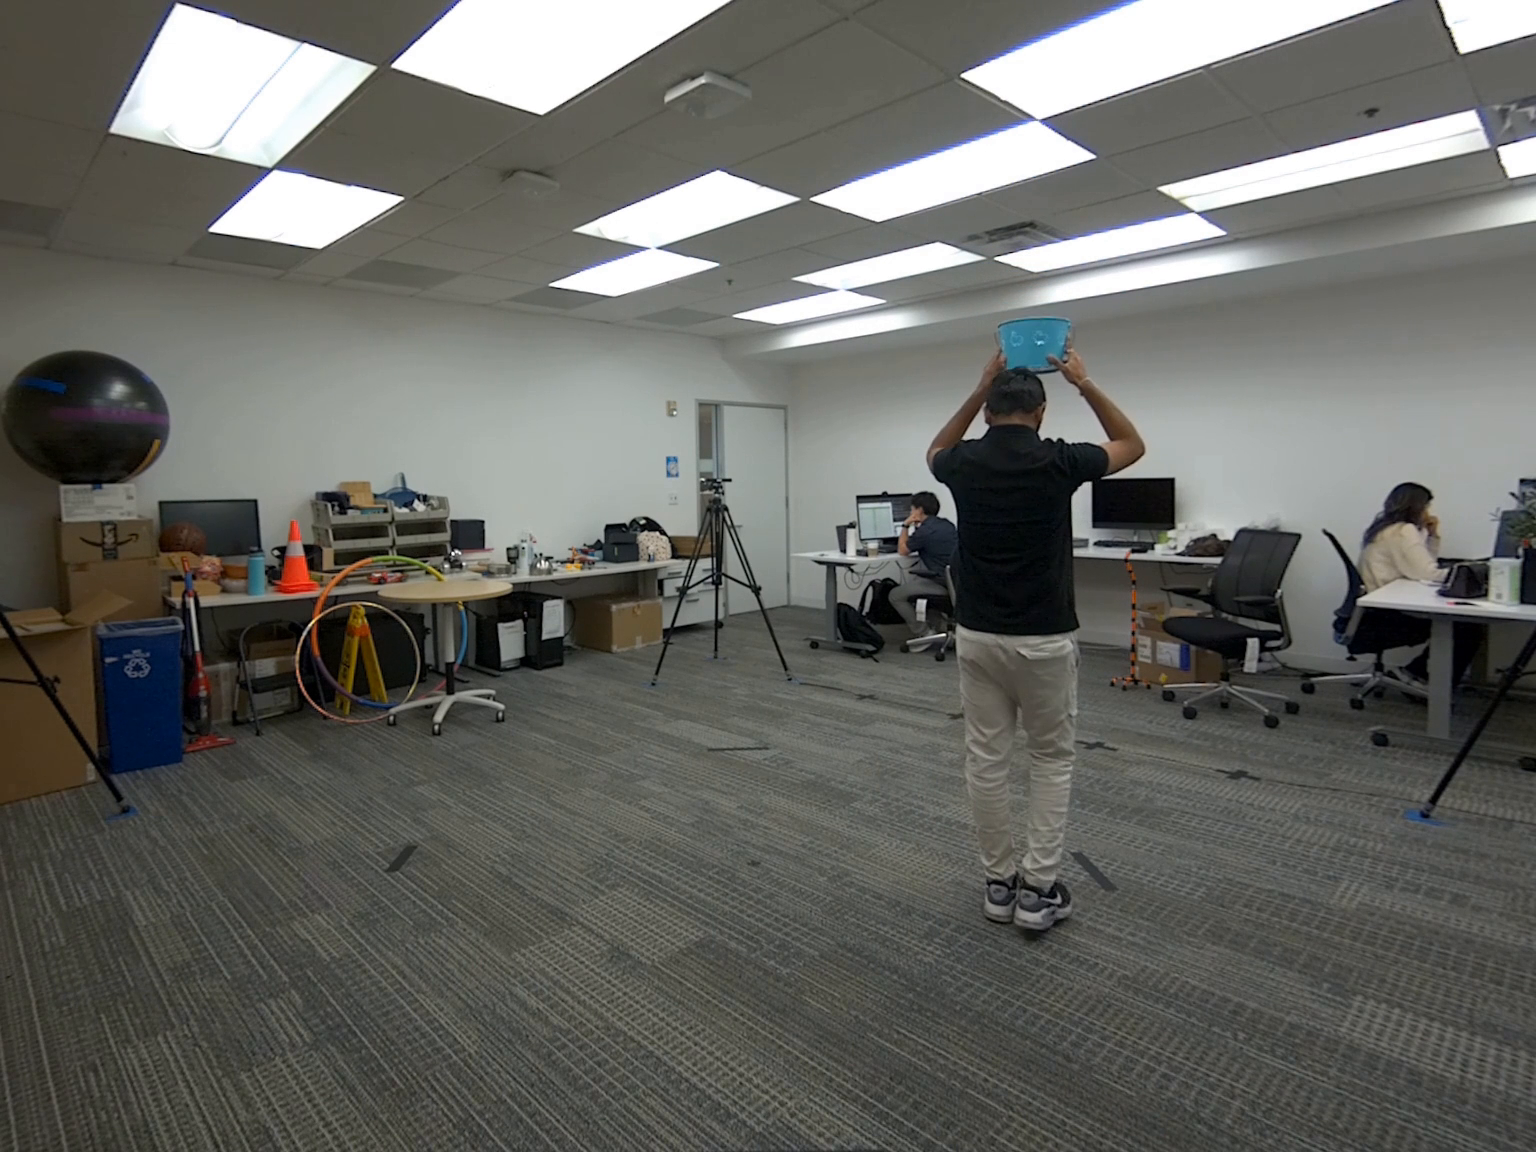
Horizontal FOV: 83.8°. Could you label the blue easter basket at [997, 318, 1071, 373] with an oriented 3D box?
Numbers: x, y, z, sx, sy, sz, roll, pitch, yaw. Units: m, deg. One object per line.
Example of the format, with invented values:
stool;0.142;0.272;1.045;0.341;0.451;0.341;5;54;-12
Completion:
blue easter basket;0.902;-0.756;2.815;0.243;0.155;0.245;1;5;-2
